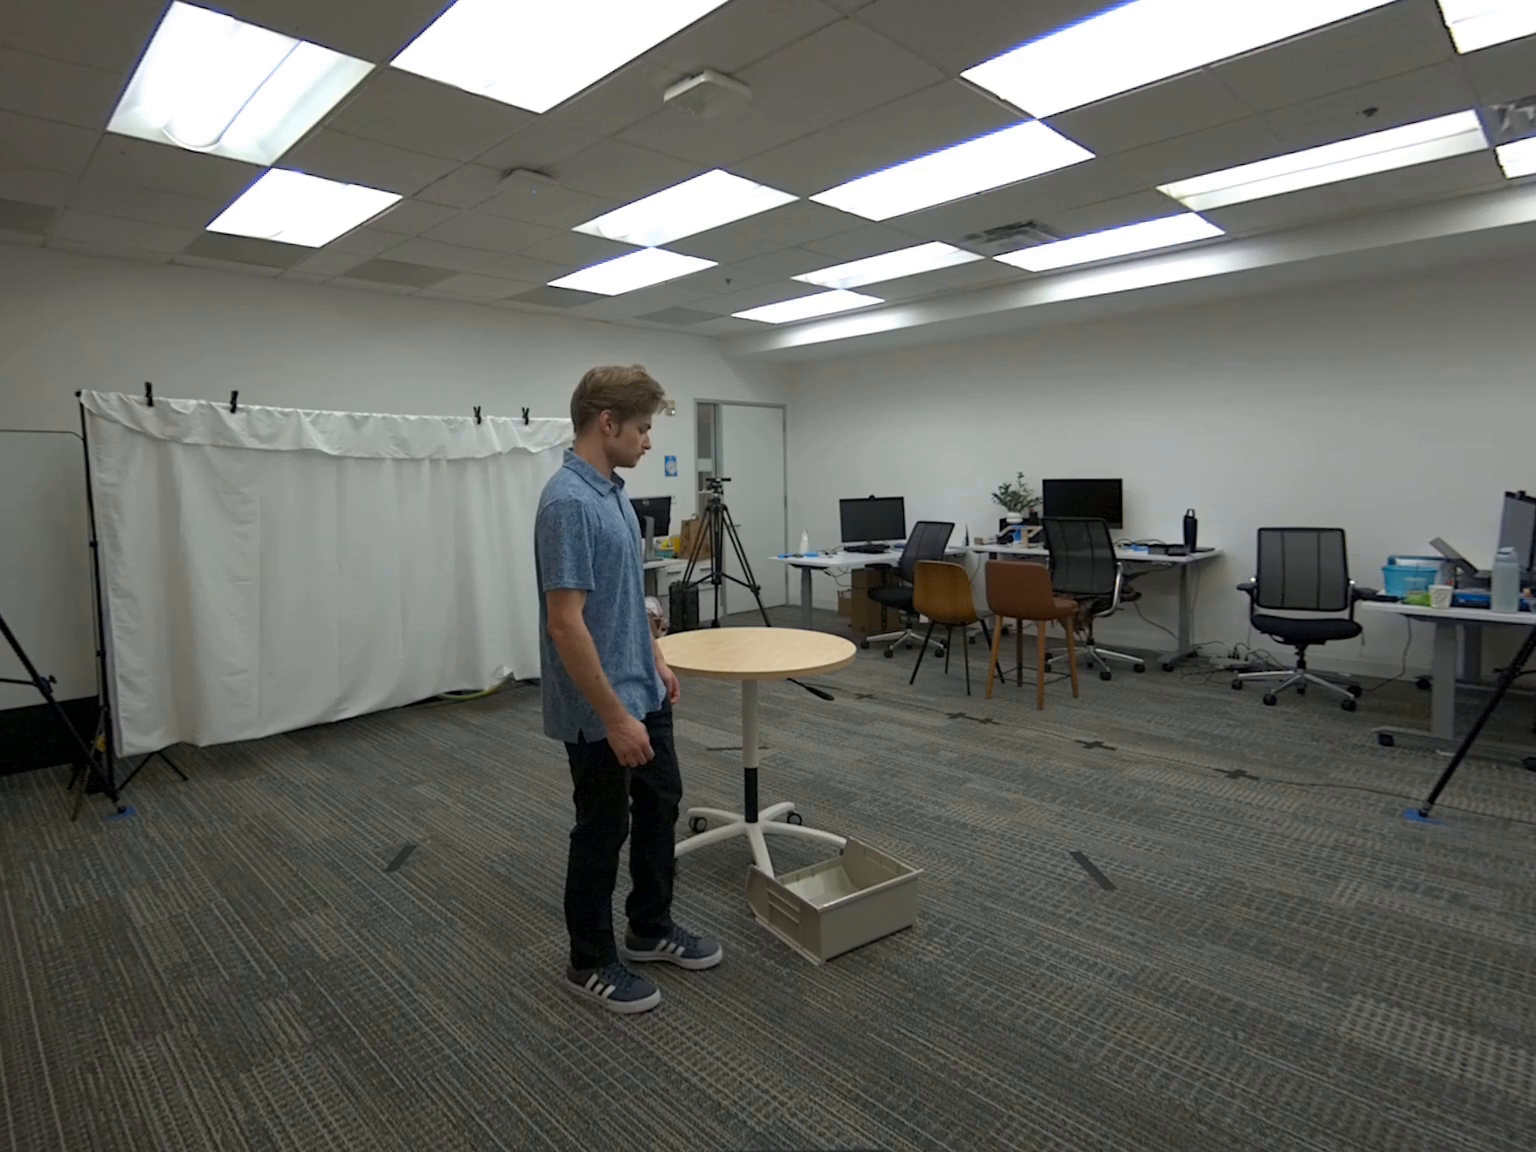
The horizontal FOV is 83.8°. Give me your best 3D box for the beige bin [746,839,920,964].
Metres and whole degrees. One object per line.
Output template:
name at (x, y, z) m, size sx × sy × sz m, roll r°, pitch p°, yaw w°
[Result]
beige bin at (0.209, 1.000, 2.688) m, size 0.412 × 0.188 × 0.389 m, roll -5°, pitch 8°, yaw -34°
